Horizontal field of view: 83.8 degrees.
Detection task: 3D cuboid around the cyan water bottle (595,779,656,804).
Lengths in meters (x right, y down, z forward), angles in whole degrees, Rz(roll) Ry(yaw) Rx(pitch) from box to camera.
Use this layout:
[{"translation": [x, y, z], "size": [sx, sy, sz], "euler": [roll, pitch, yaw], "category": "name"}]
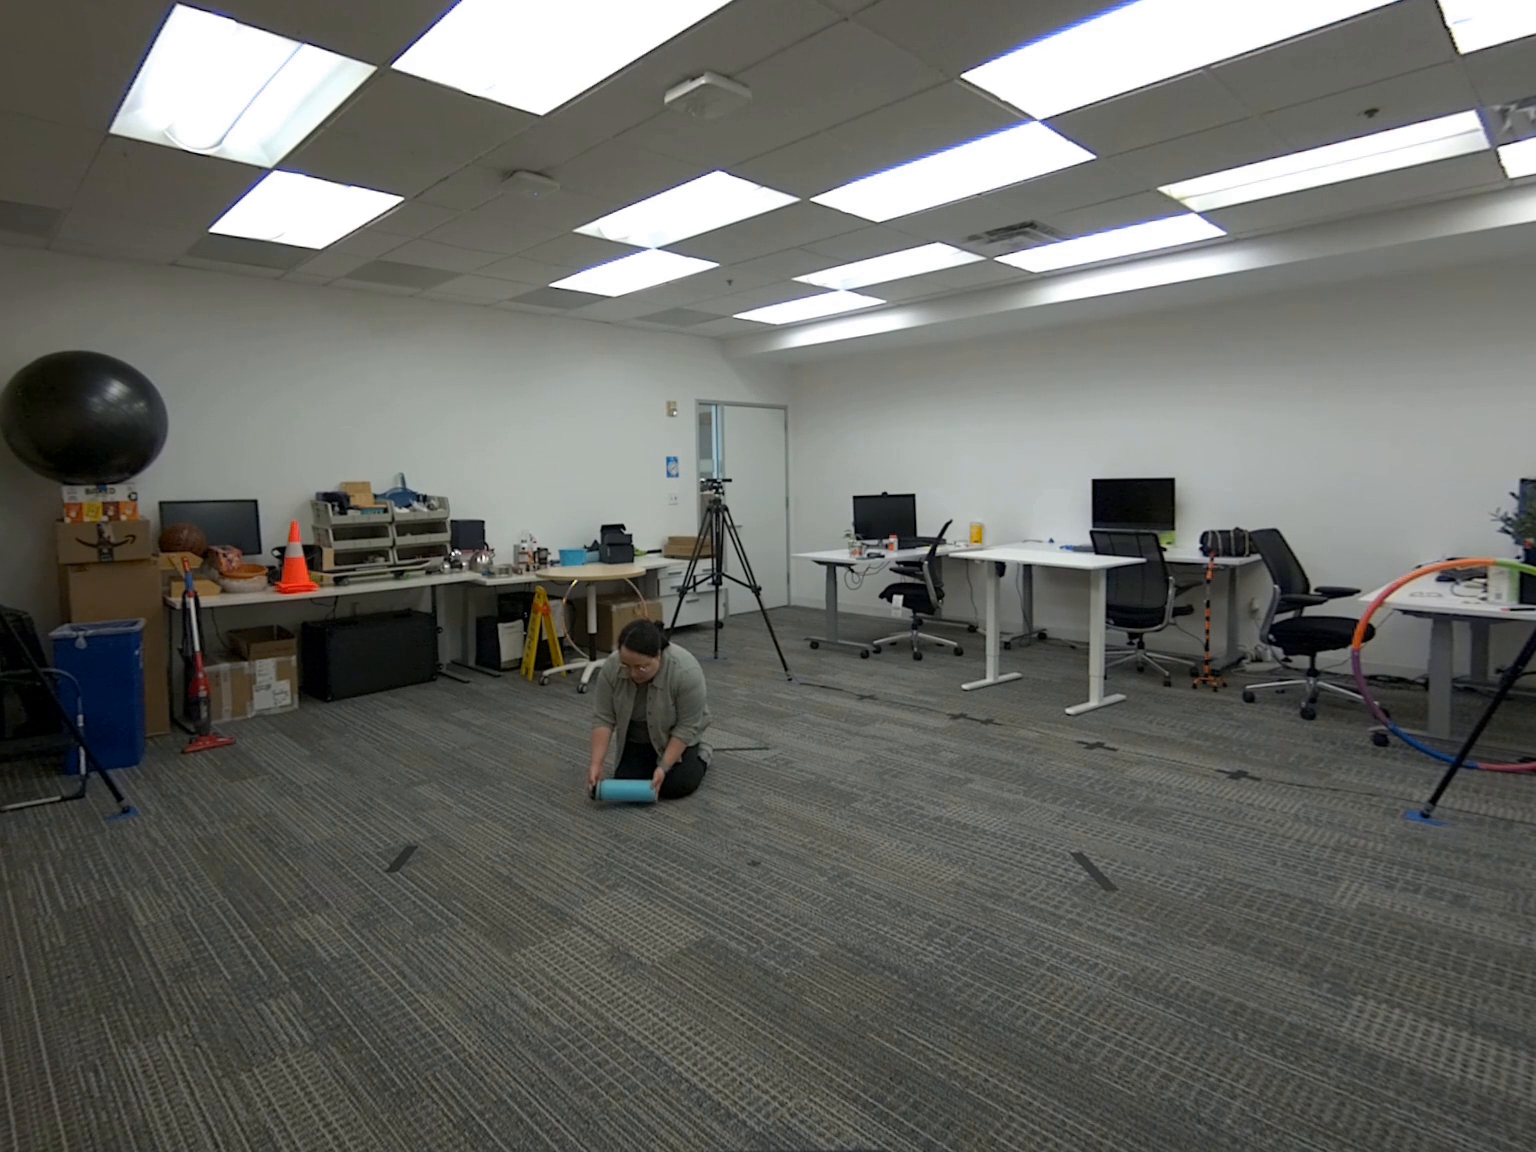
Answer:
[{"translation": [-0.634, 0.934, 3.674], "size": [0.282, 0.092, 0.093], "euler": [0, 5, -4], "category": "cyan water bottle"}]
